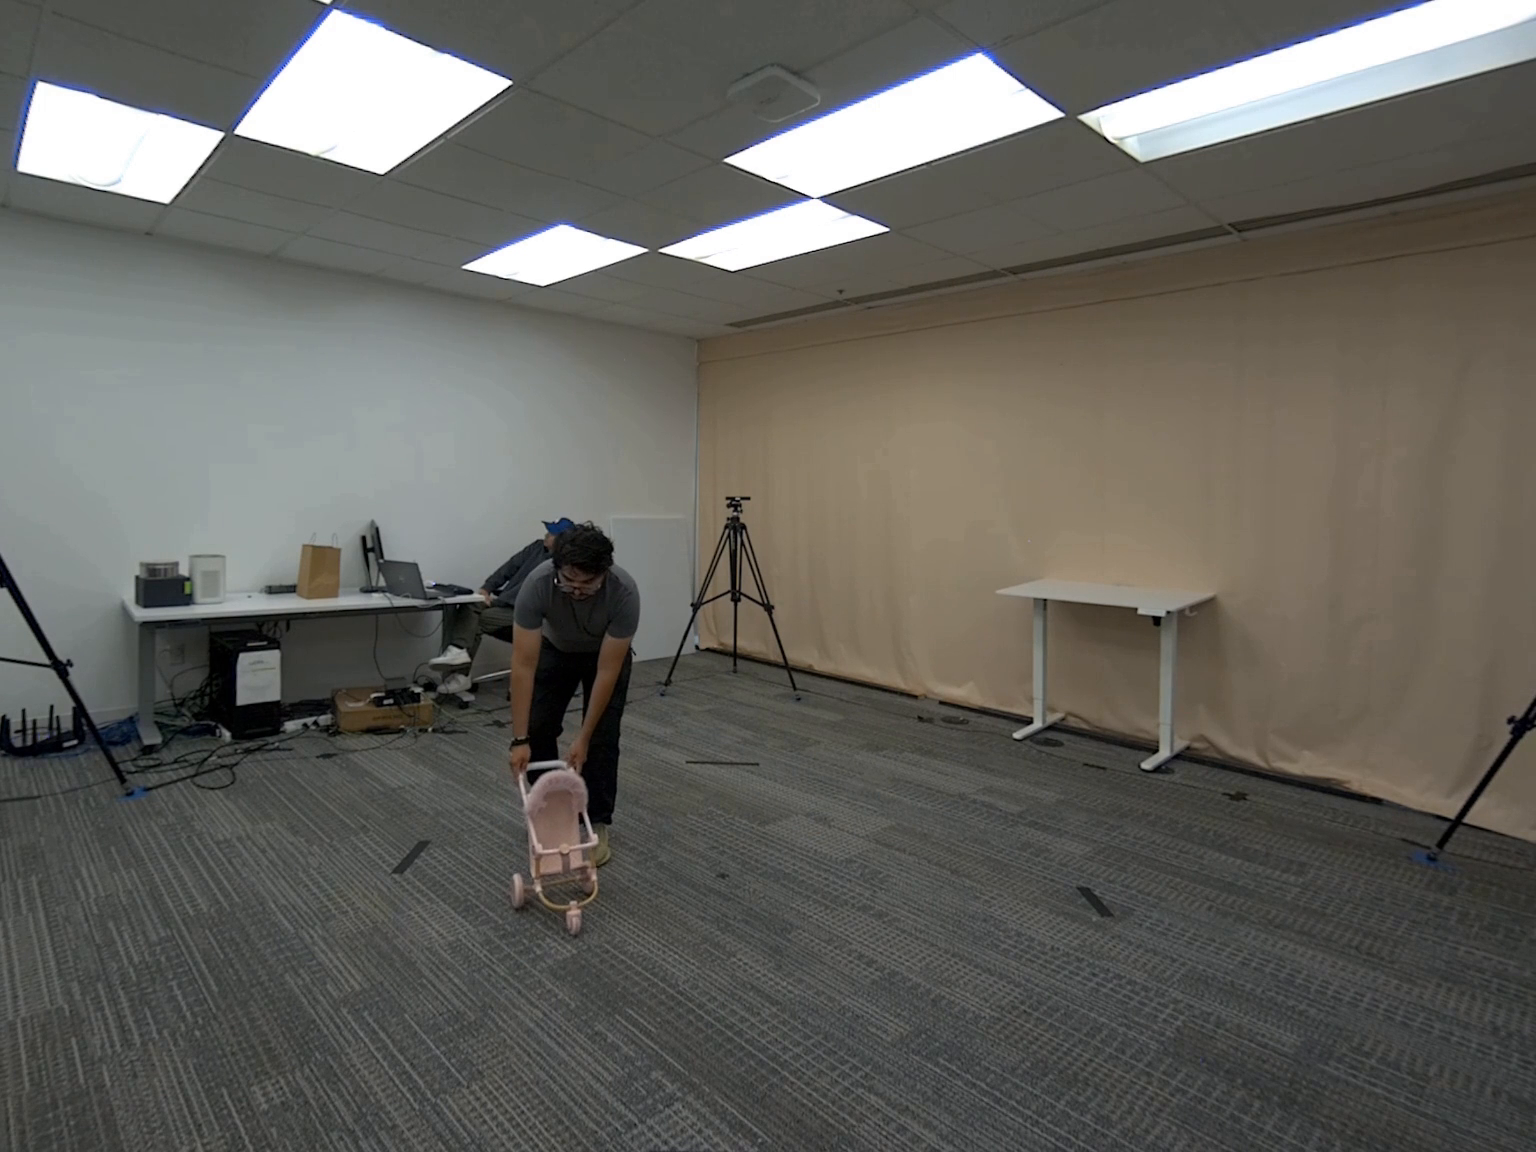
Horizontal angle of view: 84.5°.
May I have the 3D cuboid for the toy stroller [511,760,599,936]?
[{"bbox_3d":[-0.710,0.896,2.820,0.276,0.540,0.344,0,-11,-25],"label":"toy stroller"}]
